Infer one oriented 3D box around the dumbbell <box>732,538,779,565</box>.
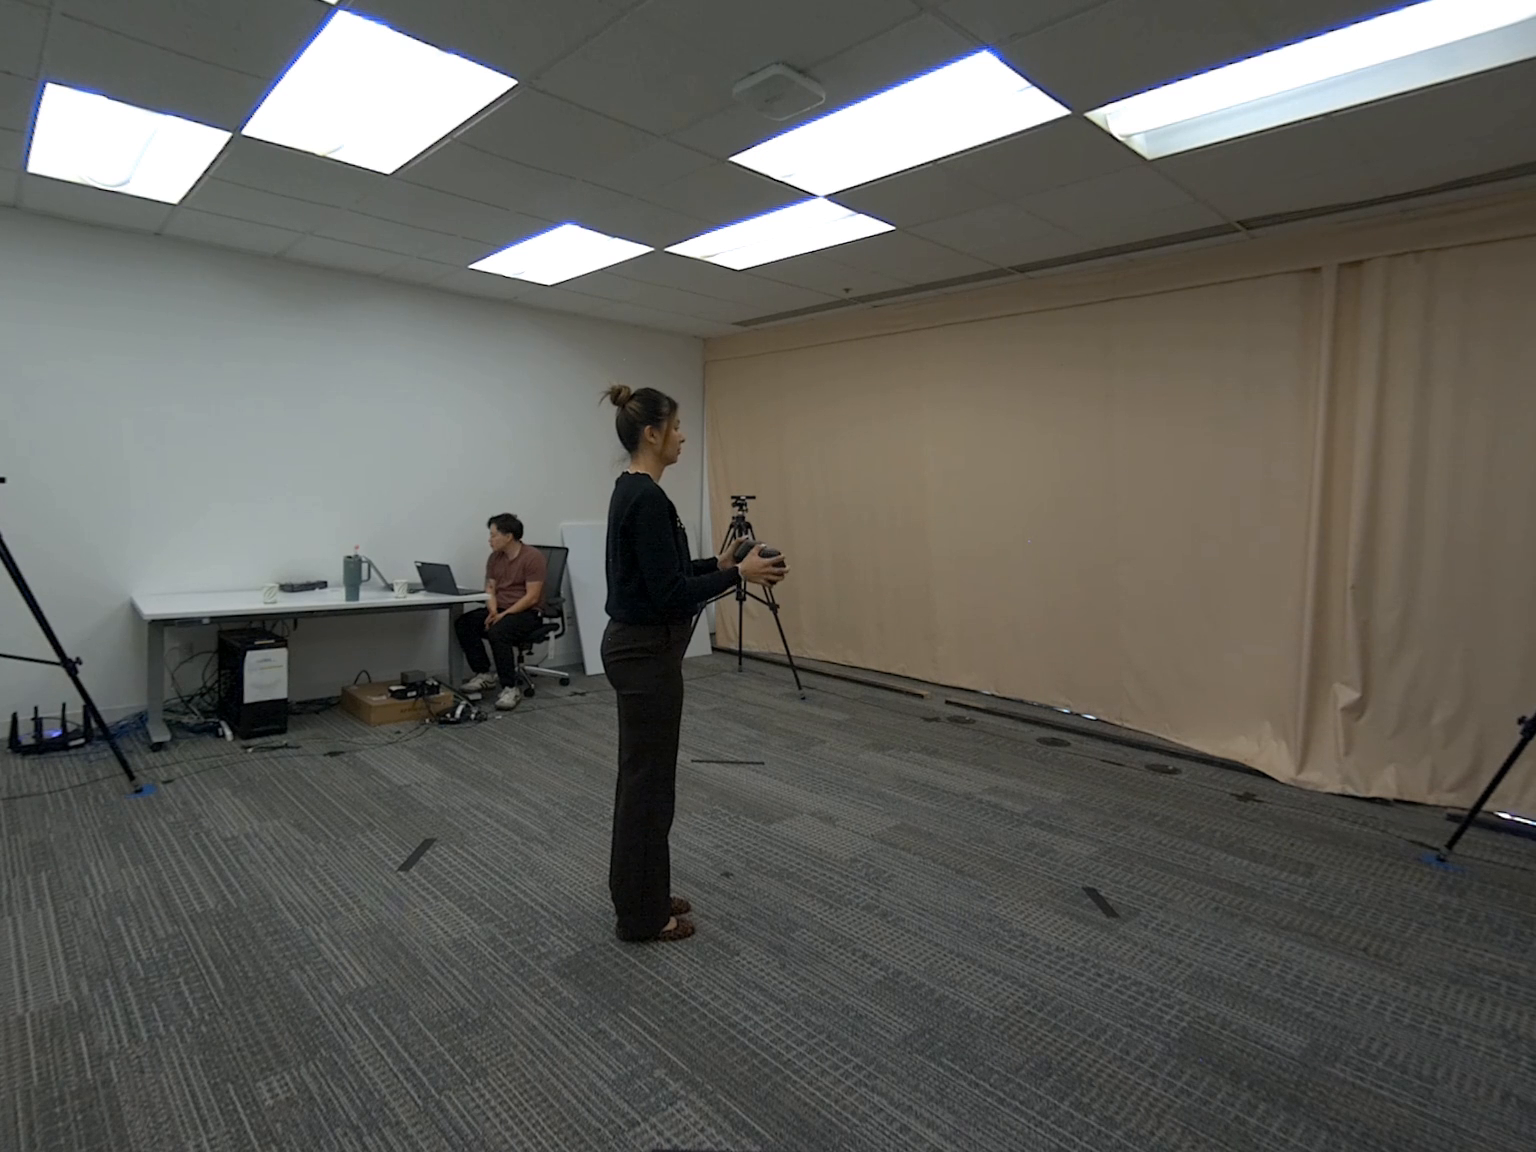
[{"bbox_3d":[-0.070,-0.049,2.718,0.123,0.108,0.295,12,7,-3],"label":"dumbbell"}]
